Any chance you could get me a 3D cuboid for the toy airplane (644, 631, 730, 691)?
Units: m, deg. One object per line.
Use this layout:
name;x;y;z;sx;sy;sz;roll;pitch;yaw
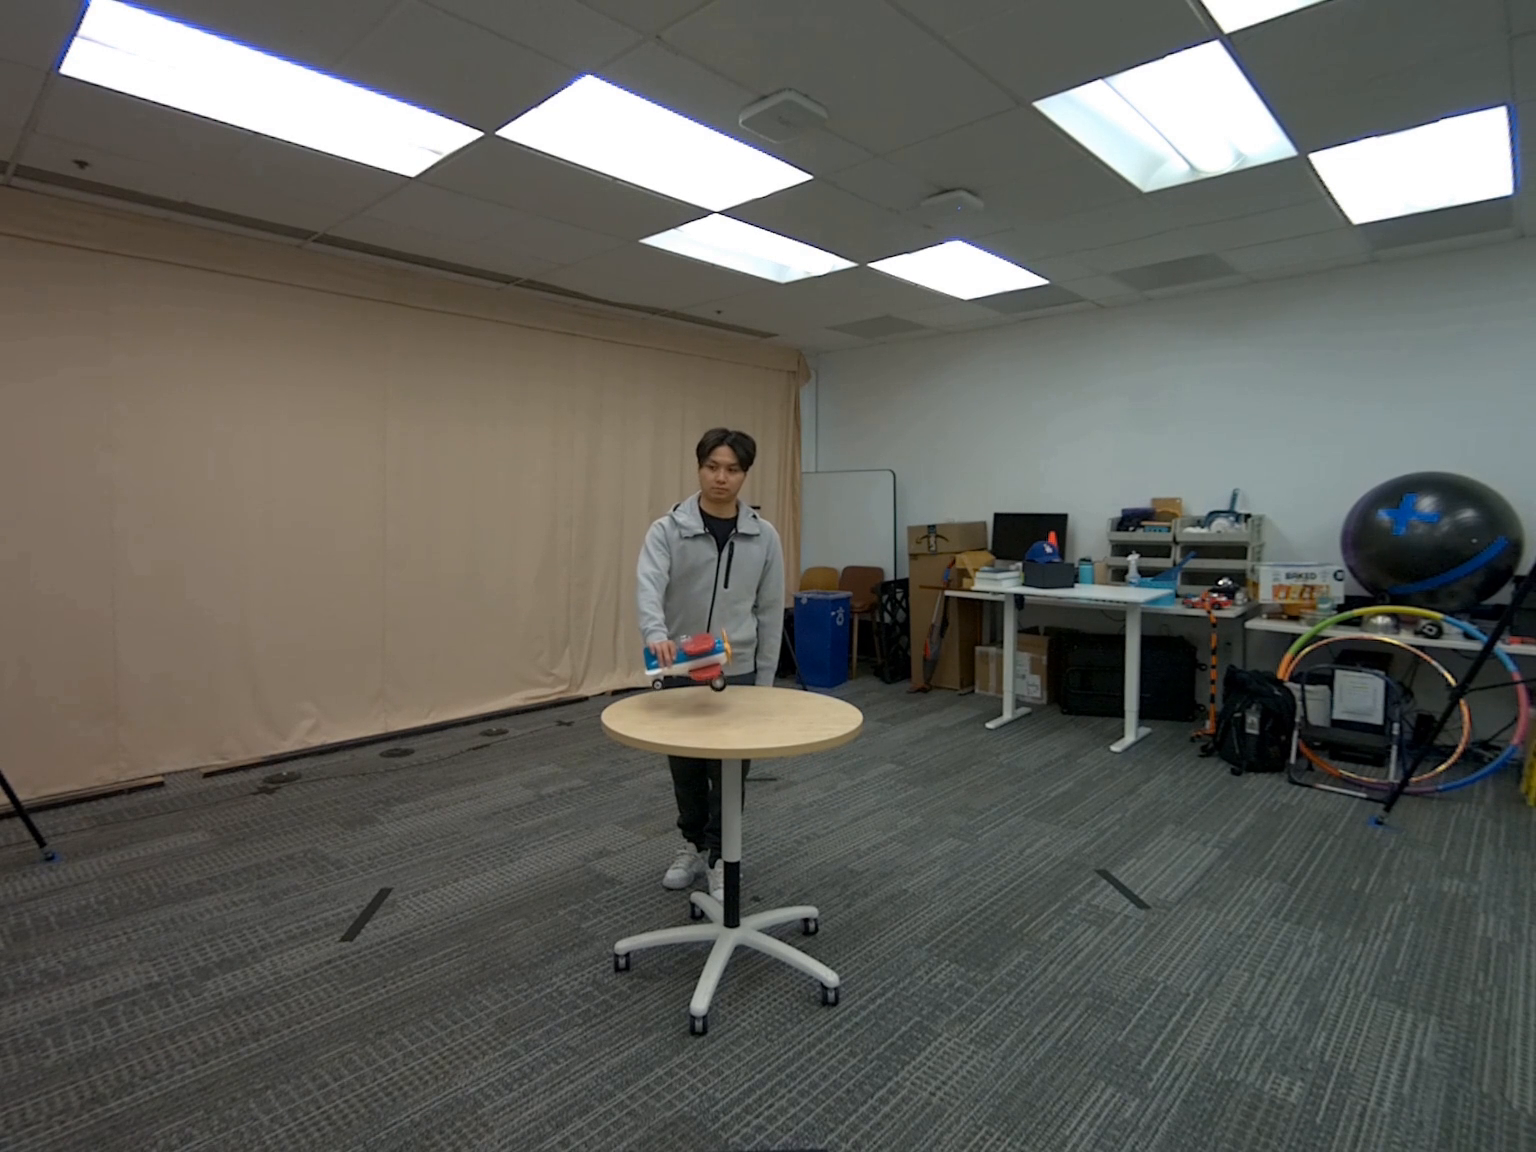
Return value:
toy airplane;-0.240;0.258;2.484;0.252;0.156;0.259;0;5;-31
